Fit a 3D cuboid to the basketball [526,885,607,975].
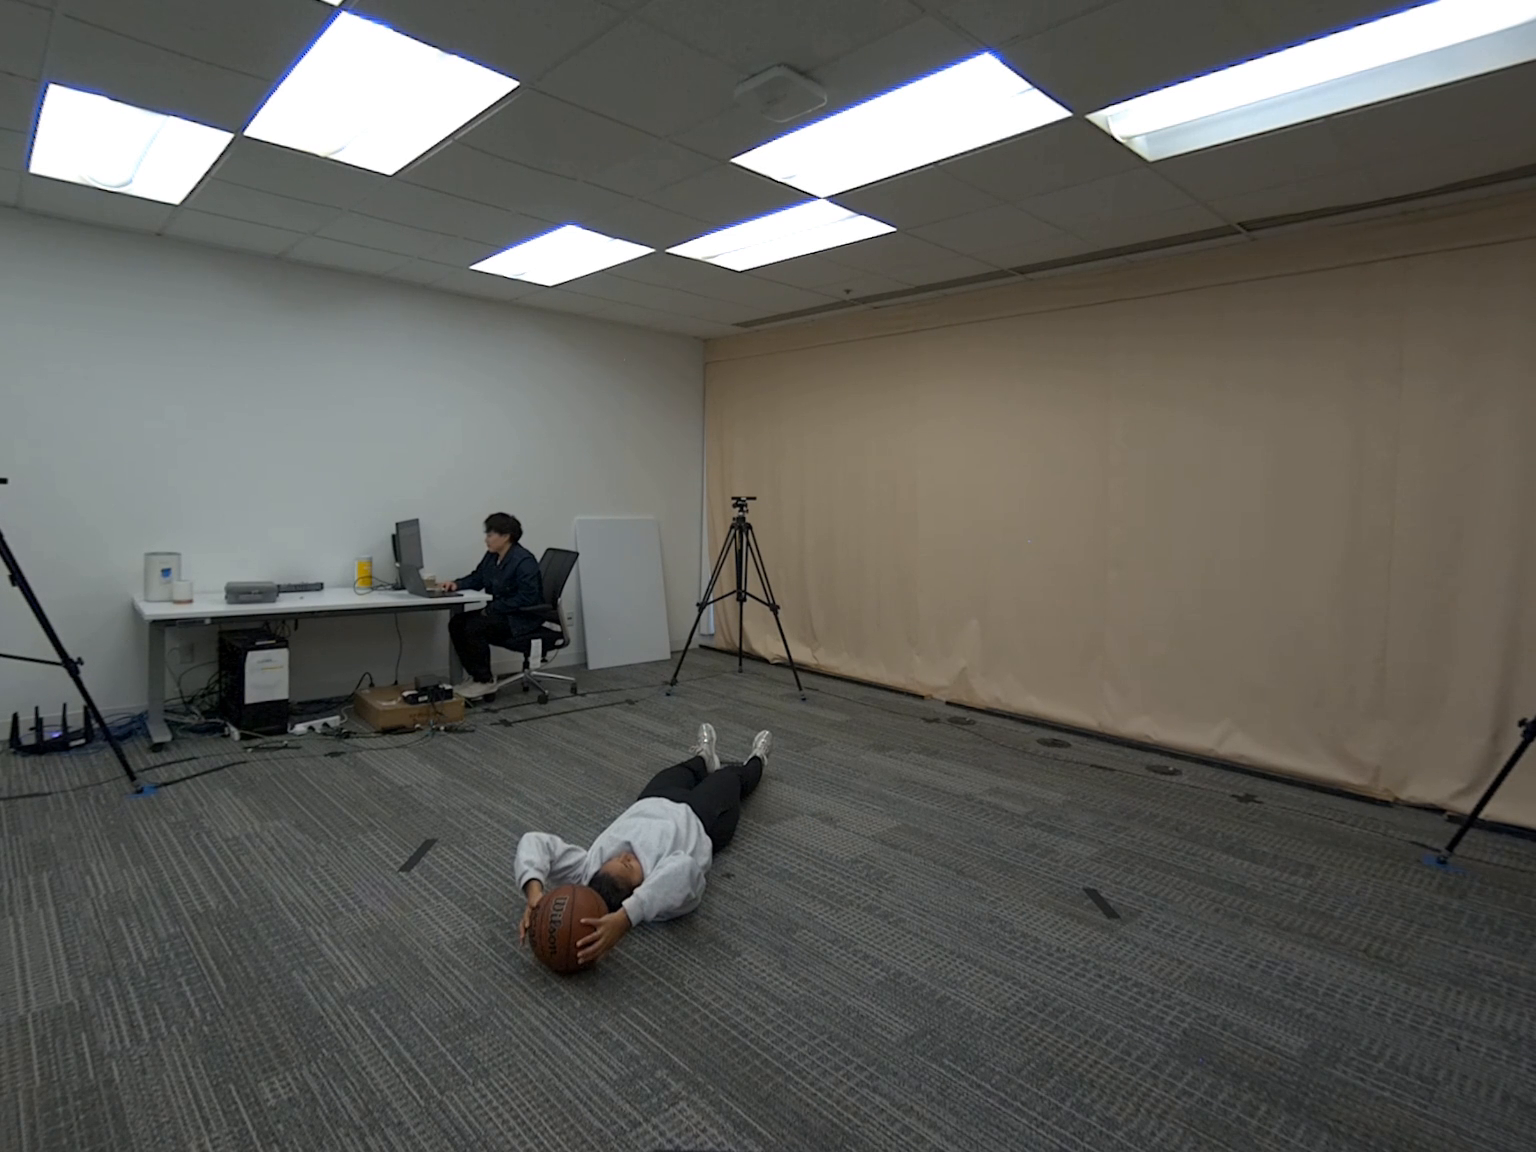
[{"bbox_3d":[-0.585,1.034,2.482,0.235,0.235,0.237,4,7,-2],"label":"basketball"}]
